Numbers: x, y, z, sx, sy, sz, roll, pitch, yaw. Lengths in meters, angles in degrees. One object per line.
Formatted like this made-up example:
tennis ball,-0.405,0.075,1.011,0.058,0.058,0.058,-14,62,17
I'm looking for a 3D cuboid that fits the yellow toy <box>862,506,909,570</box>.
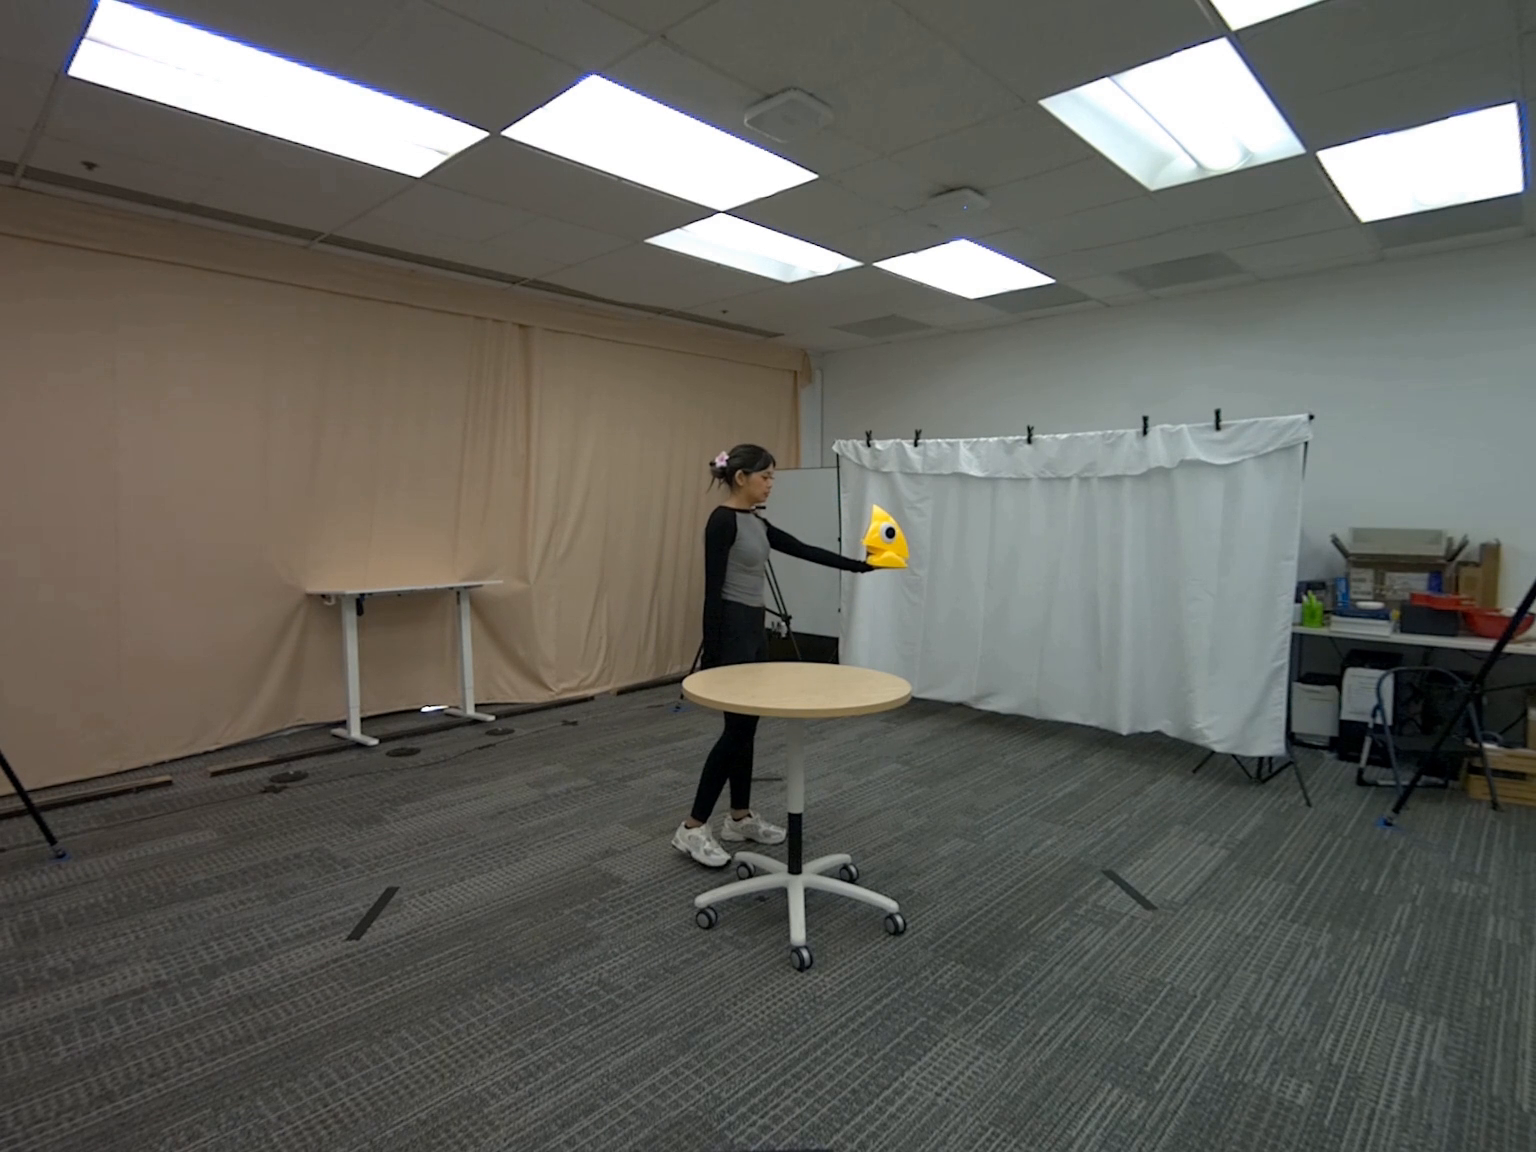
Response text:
yellow toy,0.473,-0.165,3.345,0.195,0.229,0.204,5,9,7
